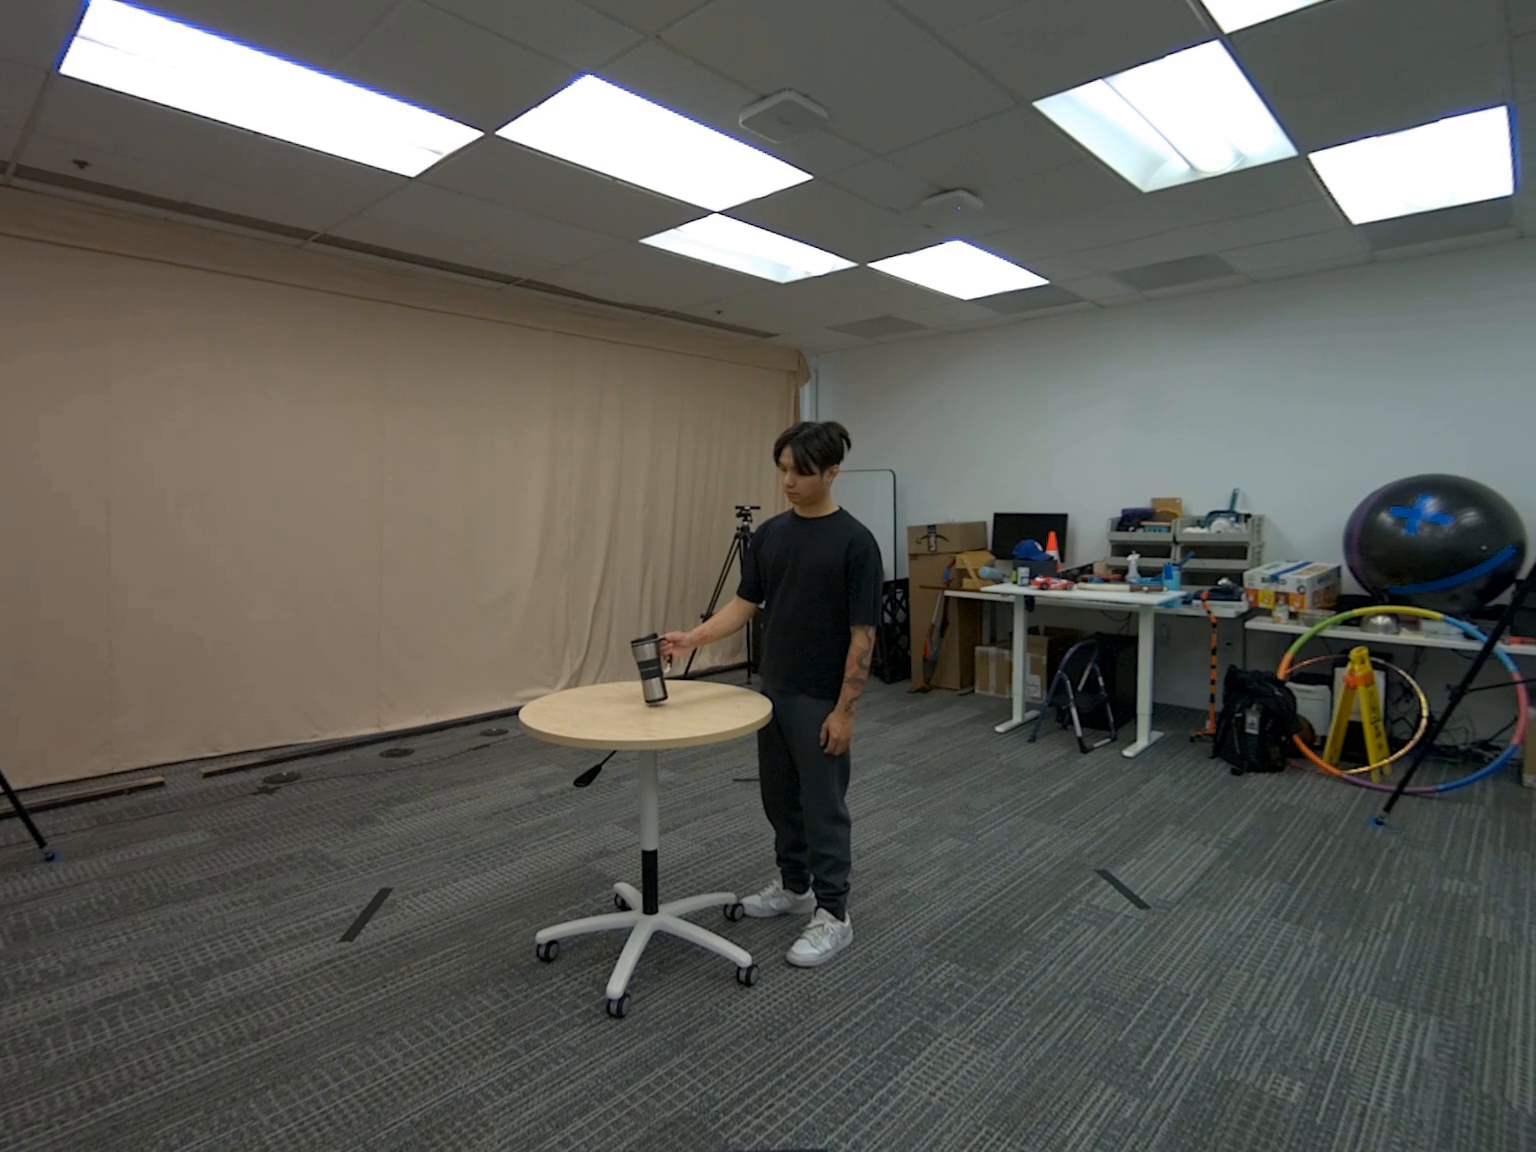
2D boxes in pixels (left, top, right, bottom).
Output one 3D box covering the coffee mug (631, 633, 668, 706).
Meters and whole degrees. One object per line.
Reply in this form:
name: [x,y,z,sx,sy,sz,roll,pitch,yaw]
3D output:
coffee mug: [-0.343,0.278,2.566,0.125,0.204,0.085,-13,-7,37]
